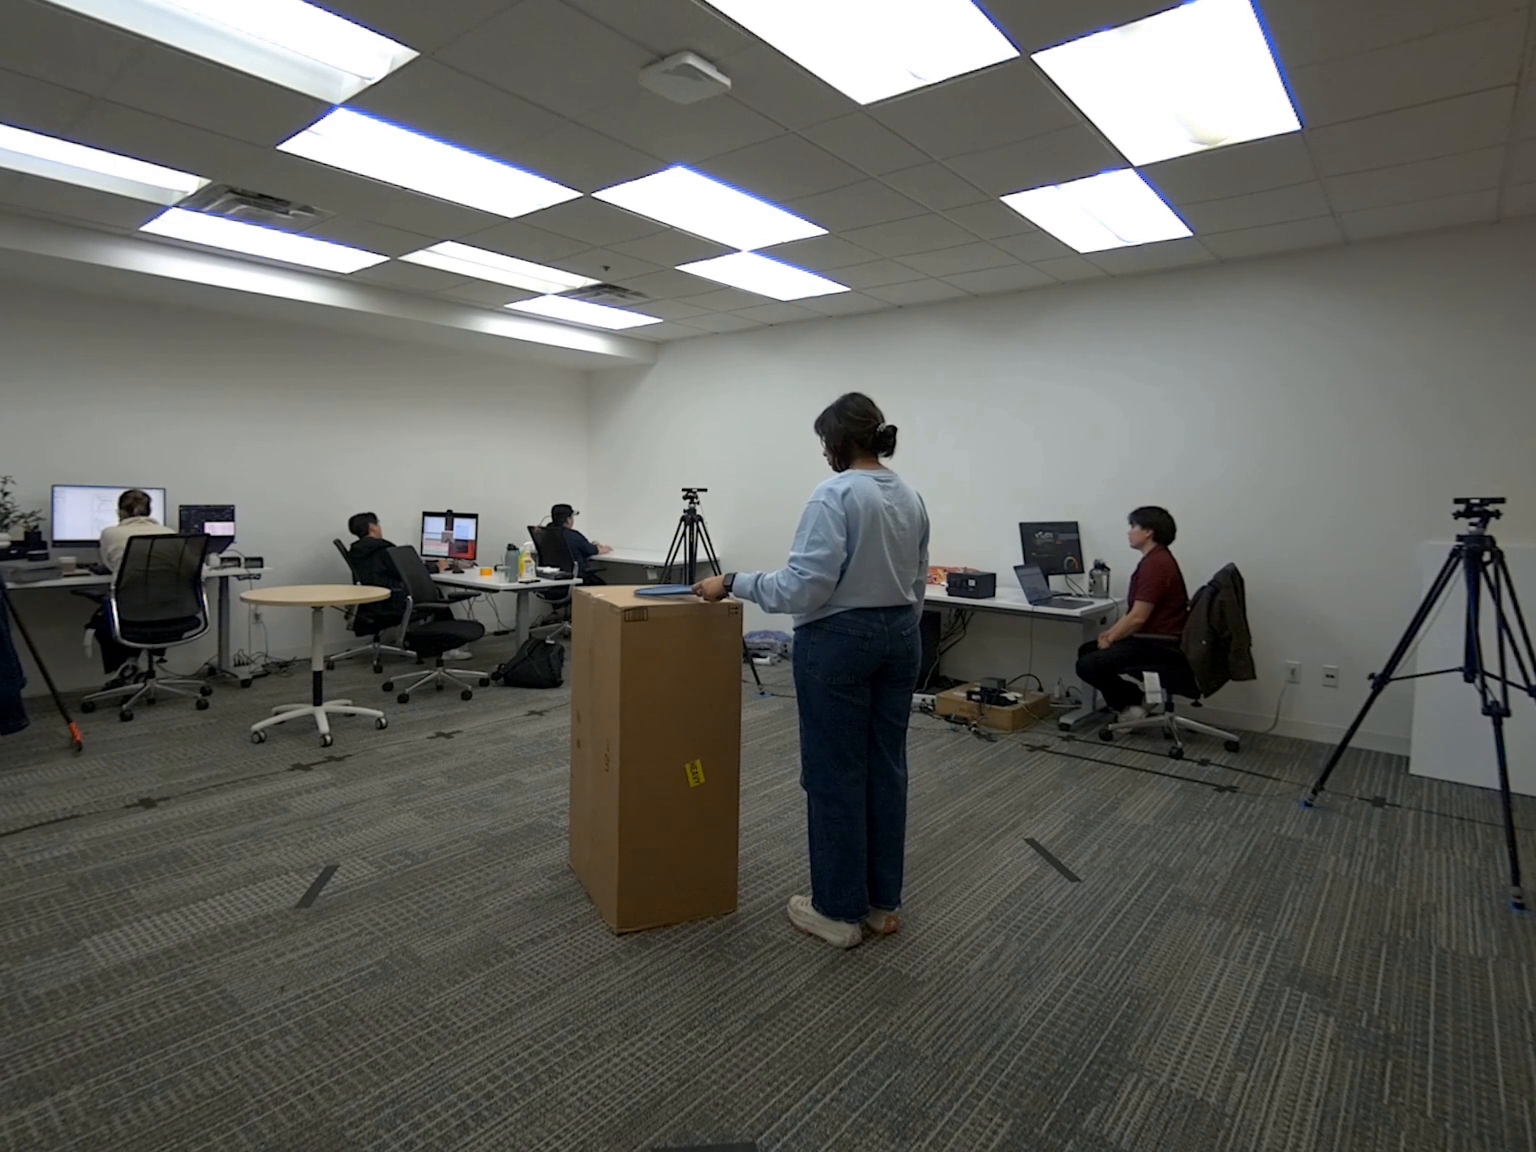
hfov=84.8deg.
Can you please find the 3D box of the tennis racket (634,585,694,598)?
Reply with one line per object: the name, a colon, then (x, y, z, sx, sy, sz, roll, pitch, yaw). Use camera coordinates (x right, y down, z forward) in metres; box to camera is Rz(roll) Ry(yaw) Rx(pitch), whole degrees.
tennis racket: (-0.285, 0.046, 2.816, 0.446, 0.031, 0.208, 0, 6, 42)
